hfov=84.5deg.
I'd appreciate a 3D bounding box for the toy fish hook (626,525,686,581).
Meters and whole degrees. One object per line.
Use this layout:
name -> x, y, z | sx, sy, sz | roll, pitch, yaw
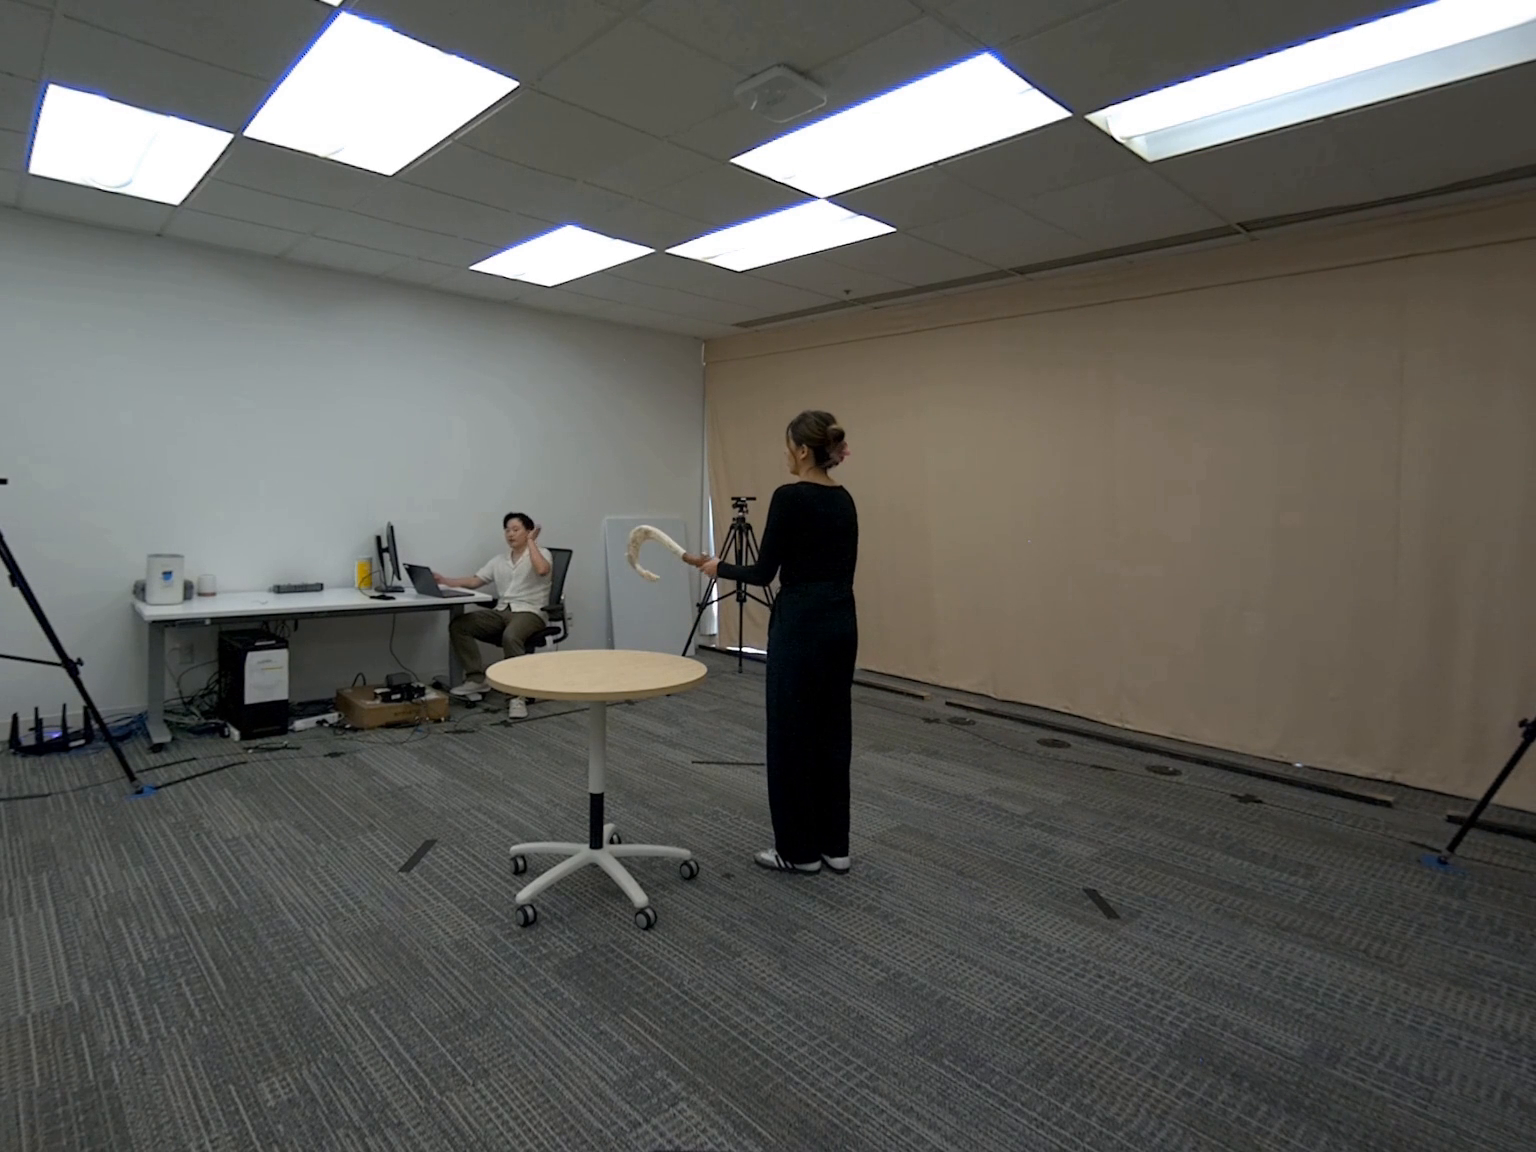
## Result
toy fish hook -> -0.385, -0.008, 3.430 | 0.520, 0.222, 0.047 | 21, 18, 32
